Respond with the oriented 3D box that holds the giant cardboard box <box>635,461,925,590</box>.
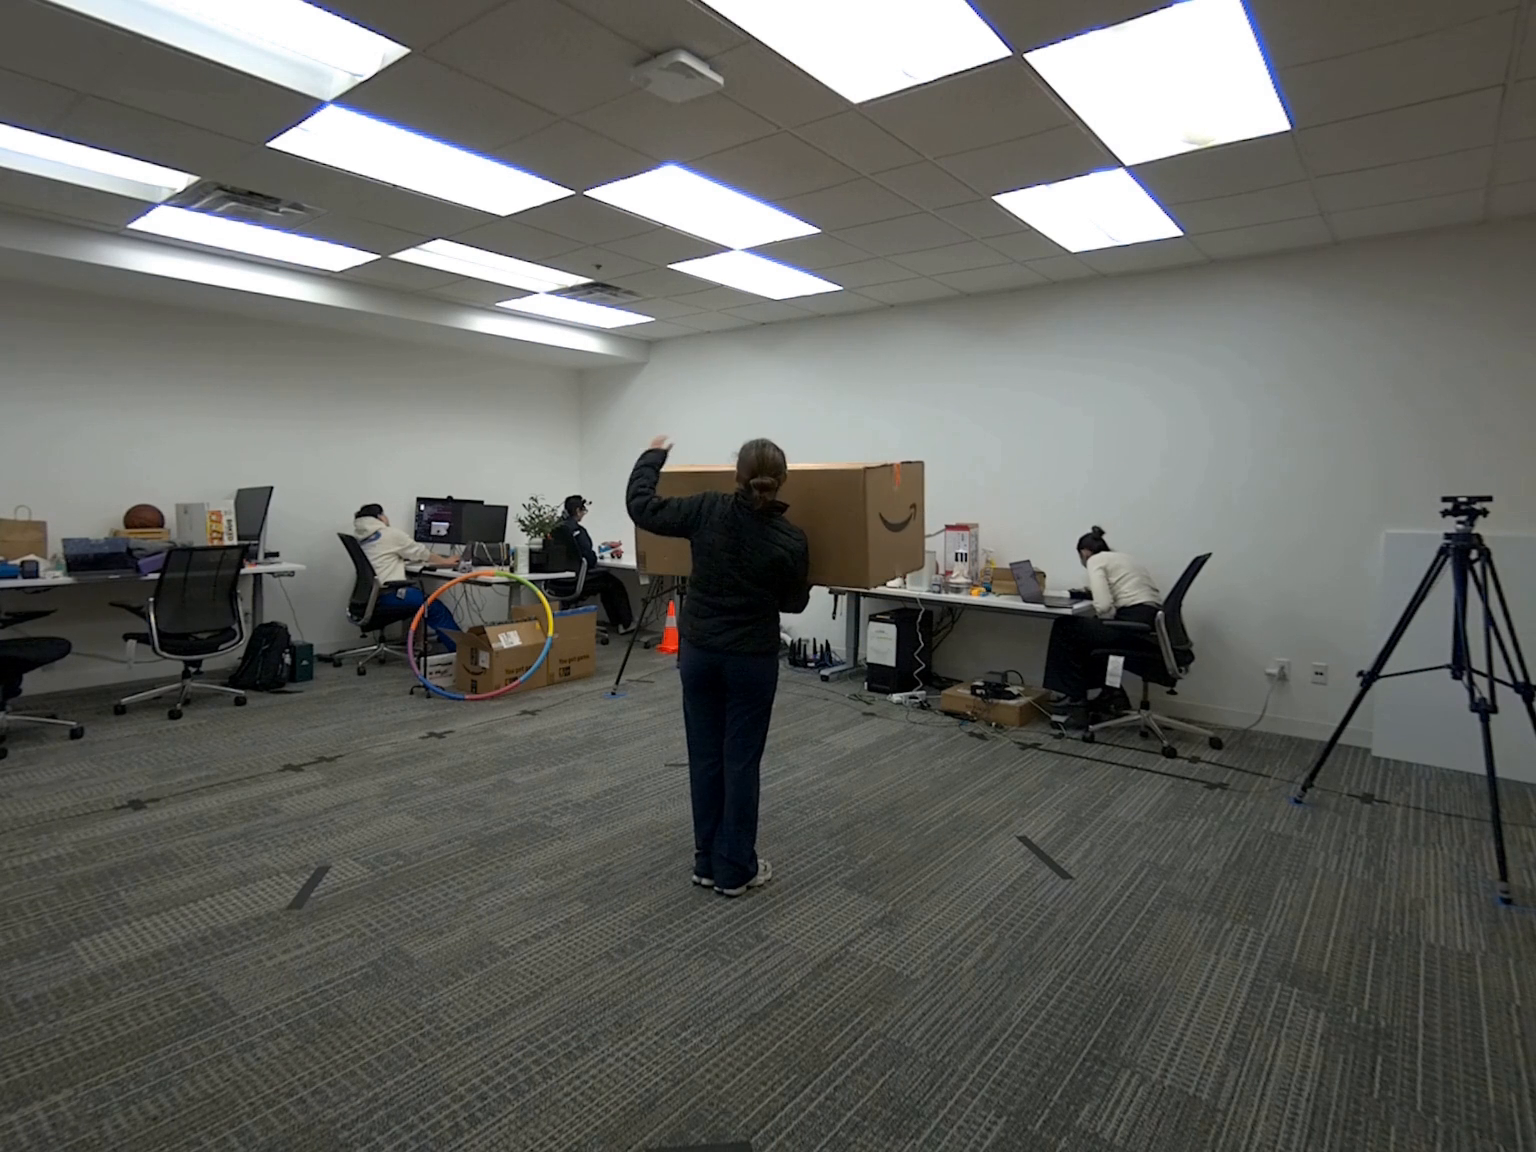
[{"bbox_3d":[0.051,-0.236,3.416,1.057,0.423,0.564,3,9,32],"label":"giant cardboard box"}]
